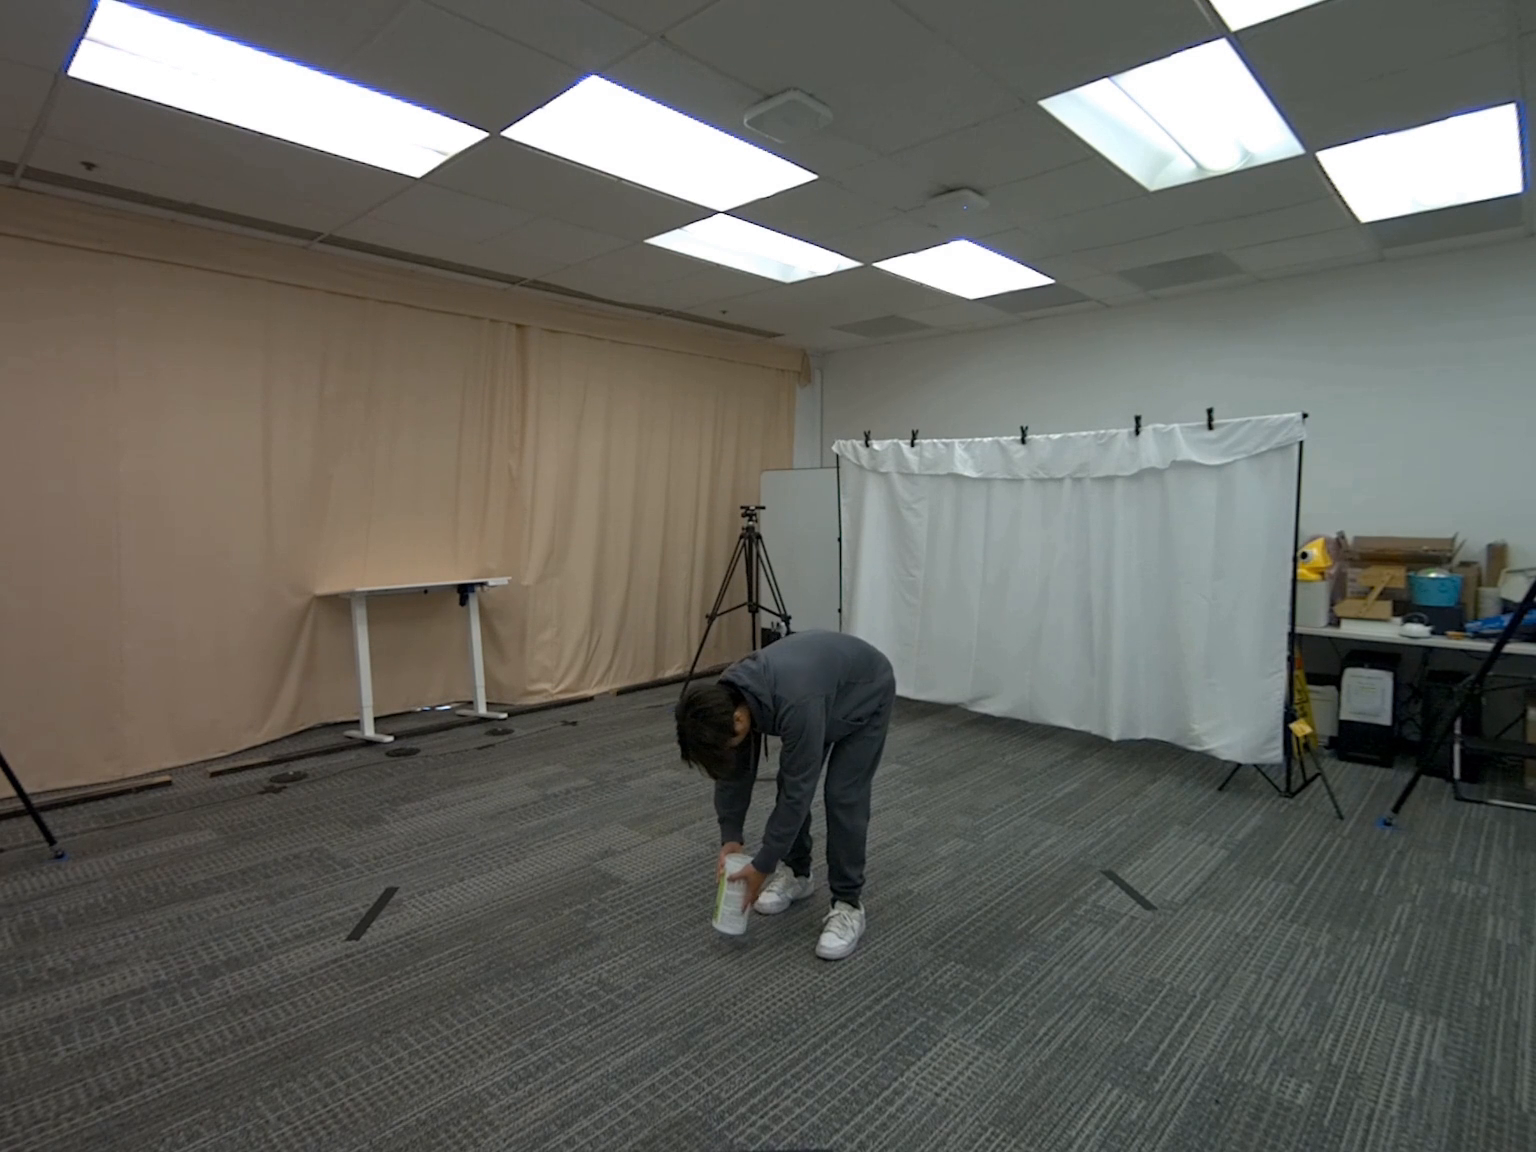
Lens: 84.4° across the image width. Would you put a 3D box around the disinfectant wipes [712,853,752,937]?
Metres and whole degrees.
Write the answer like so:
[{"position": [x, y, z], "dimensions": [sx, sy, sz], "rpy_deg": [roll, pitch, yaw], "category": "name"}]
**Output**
[{"position": [-0.091, 0.999, 2.624], "dimensions": [0.118, 0.217, 0.118], "rpy_deg": [9, -1, -2], "category": "disinfectant wipes"}]
